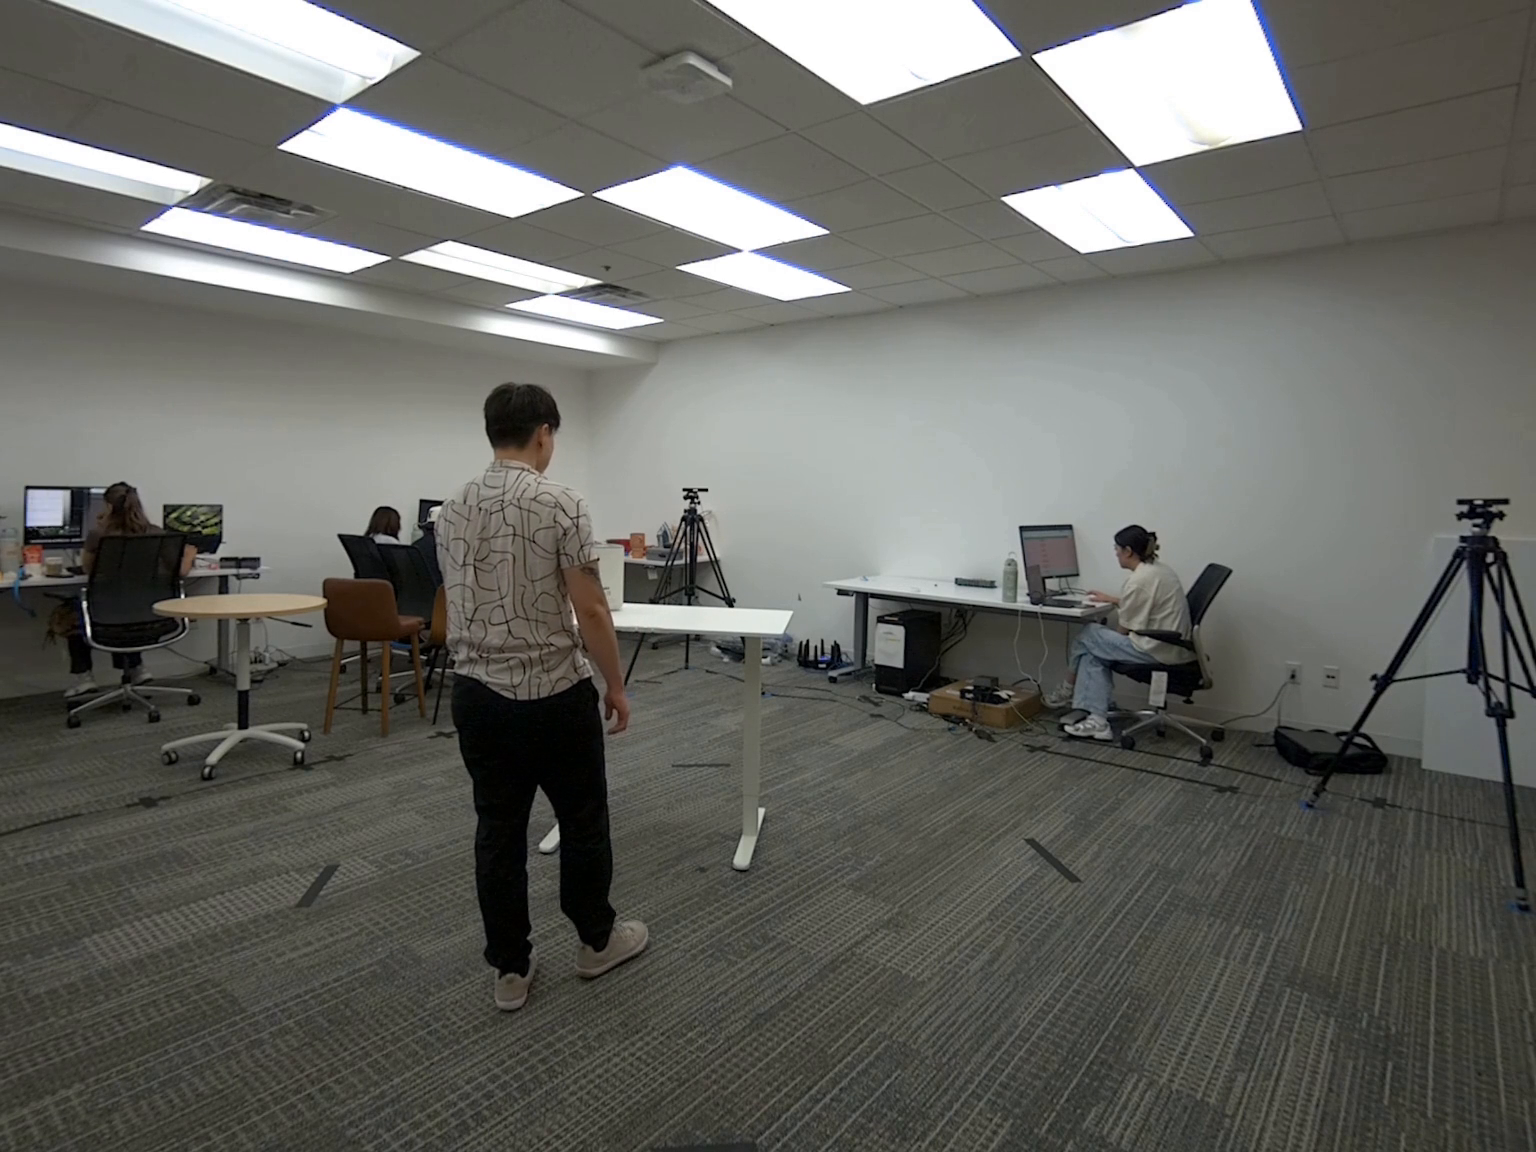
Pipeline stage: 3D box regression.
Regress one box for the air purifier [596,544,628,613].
[{"bbox_3d":[-0.699,0.006,3.533,0.167,0.265,0.176,1,3,-21],"label":"air purifier"}]
